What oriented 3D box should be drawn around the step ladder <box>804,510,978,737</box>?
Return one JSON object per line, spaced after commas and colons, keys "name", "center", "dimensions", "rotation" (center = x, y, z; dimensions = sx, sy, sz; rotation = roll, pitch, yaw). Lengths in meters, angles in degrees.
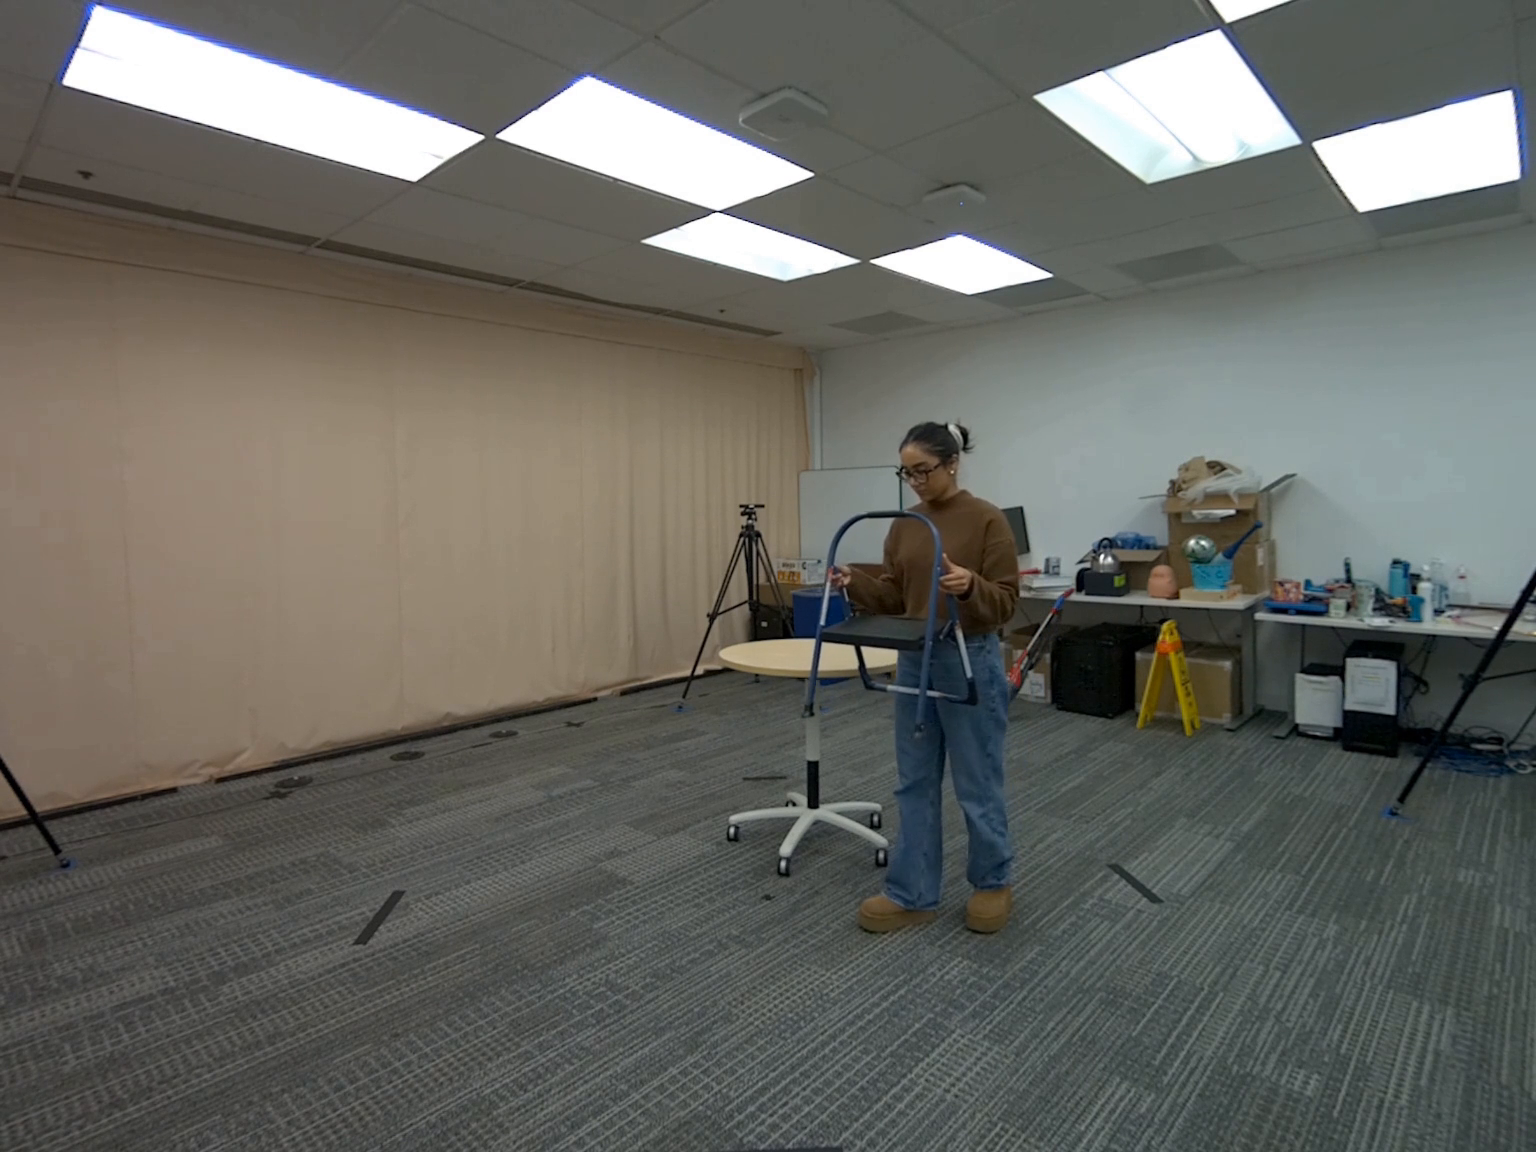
{"name": "step ladder", "center": [0.355, 0.115, 2.545], "dimensions": [0.445, 0.603, 0.340], "rotation": [2, 10, 43]}
